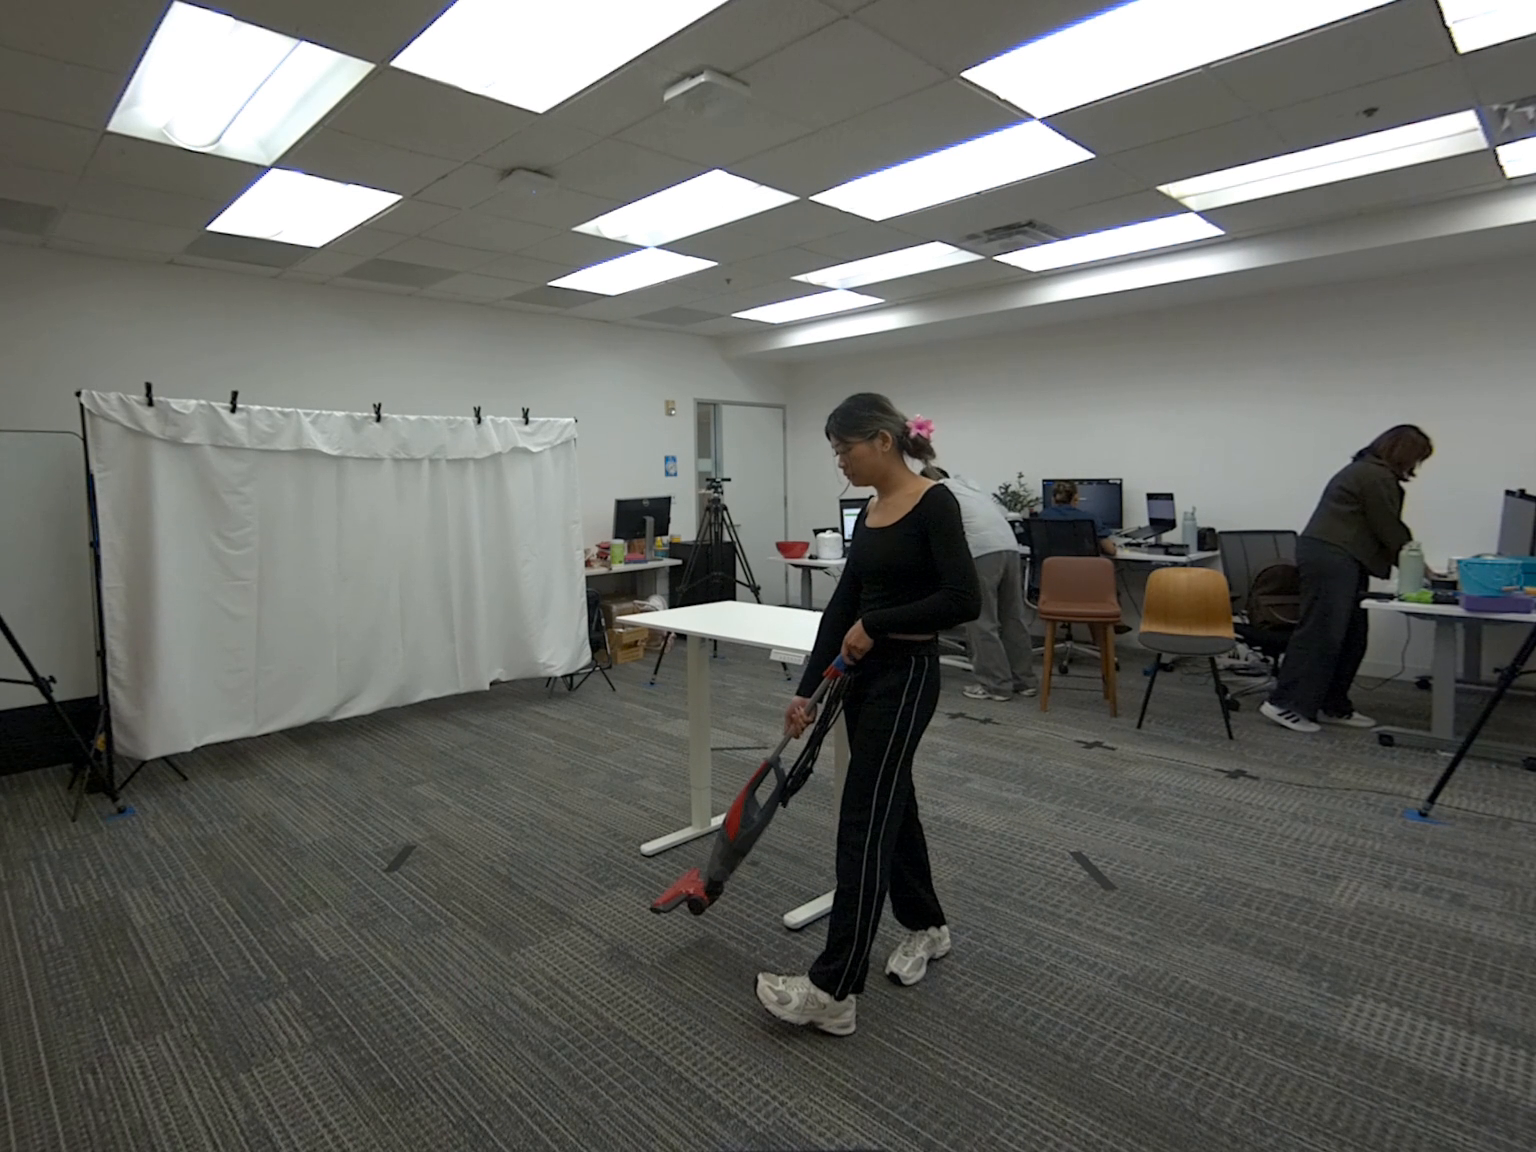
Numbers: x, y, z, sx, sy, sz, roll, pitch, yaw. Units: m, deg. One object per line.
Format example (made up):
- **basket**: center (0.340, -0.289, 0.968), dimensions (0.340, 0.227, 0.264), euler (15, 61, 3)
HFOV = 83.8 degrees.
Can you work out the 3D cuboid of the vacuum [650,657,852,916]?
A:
- **vacuum**: center (0.035, 0.530, 2.328), dimensions (0.146, 1.043, 0.249), euler (35, 19, 12)
